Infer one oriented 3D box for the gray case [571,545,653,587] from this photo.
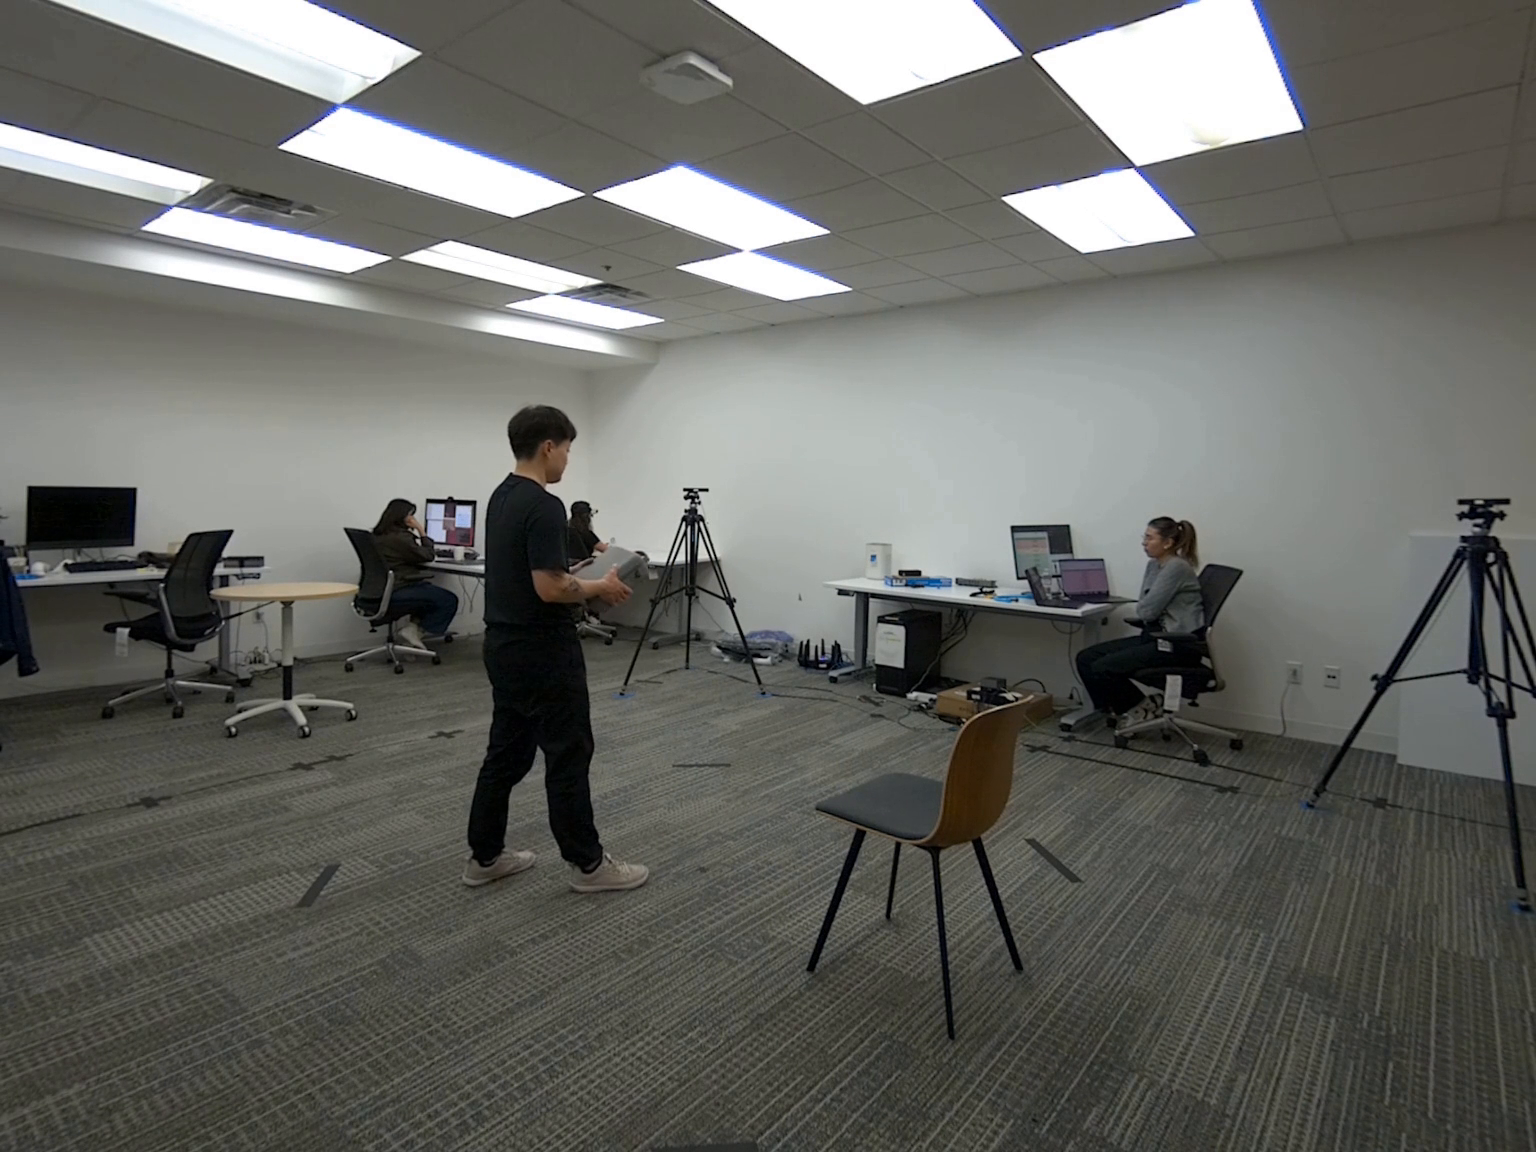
[{"bbox_3d":[-0.599,0.000,3.116,0.259,0.101,0.266,-38,26,-18],"label":"gray case"}]
